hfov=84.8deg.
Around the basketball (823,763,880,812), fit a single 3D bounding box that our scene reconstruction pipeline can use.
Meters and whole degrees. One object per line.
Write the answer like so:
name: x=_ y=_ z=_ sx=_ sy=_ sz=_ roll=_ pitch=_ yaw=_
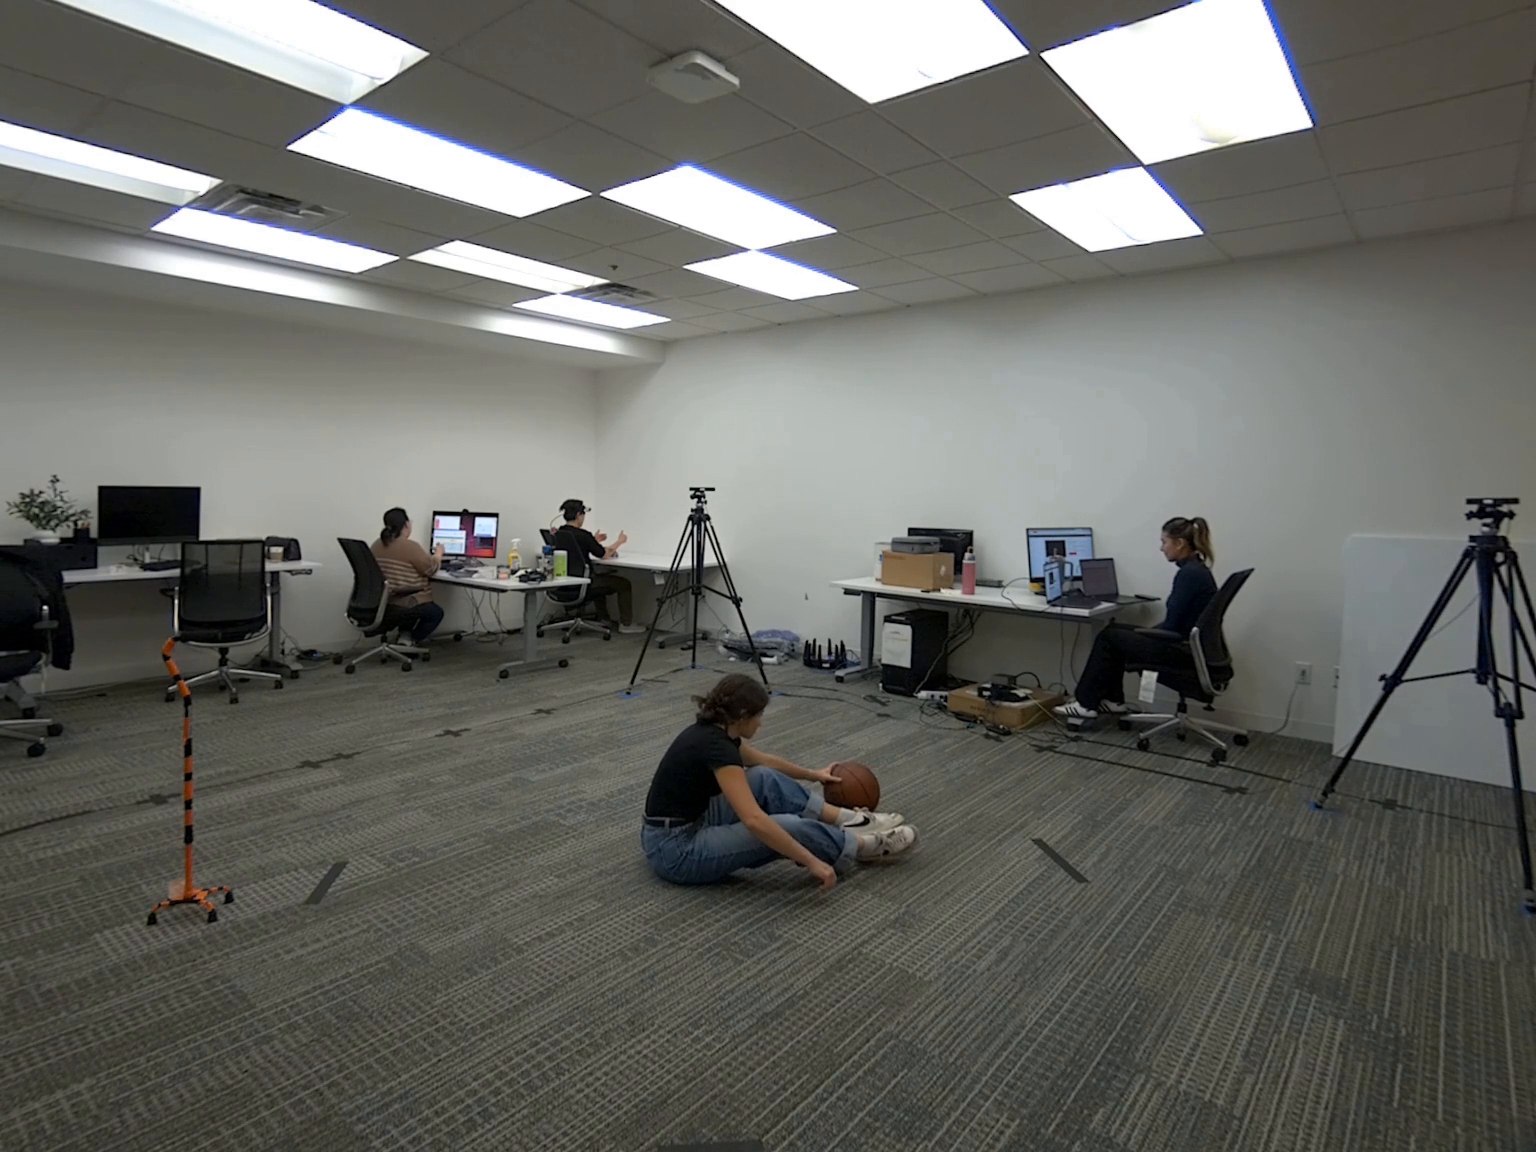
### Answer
basketball: x=0.348 y=0.908 z=3.618 sx=0.235 sy=0.235 sz=0.237 roll=1 pitch=4 yaw=-2
